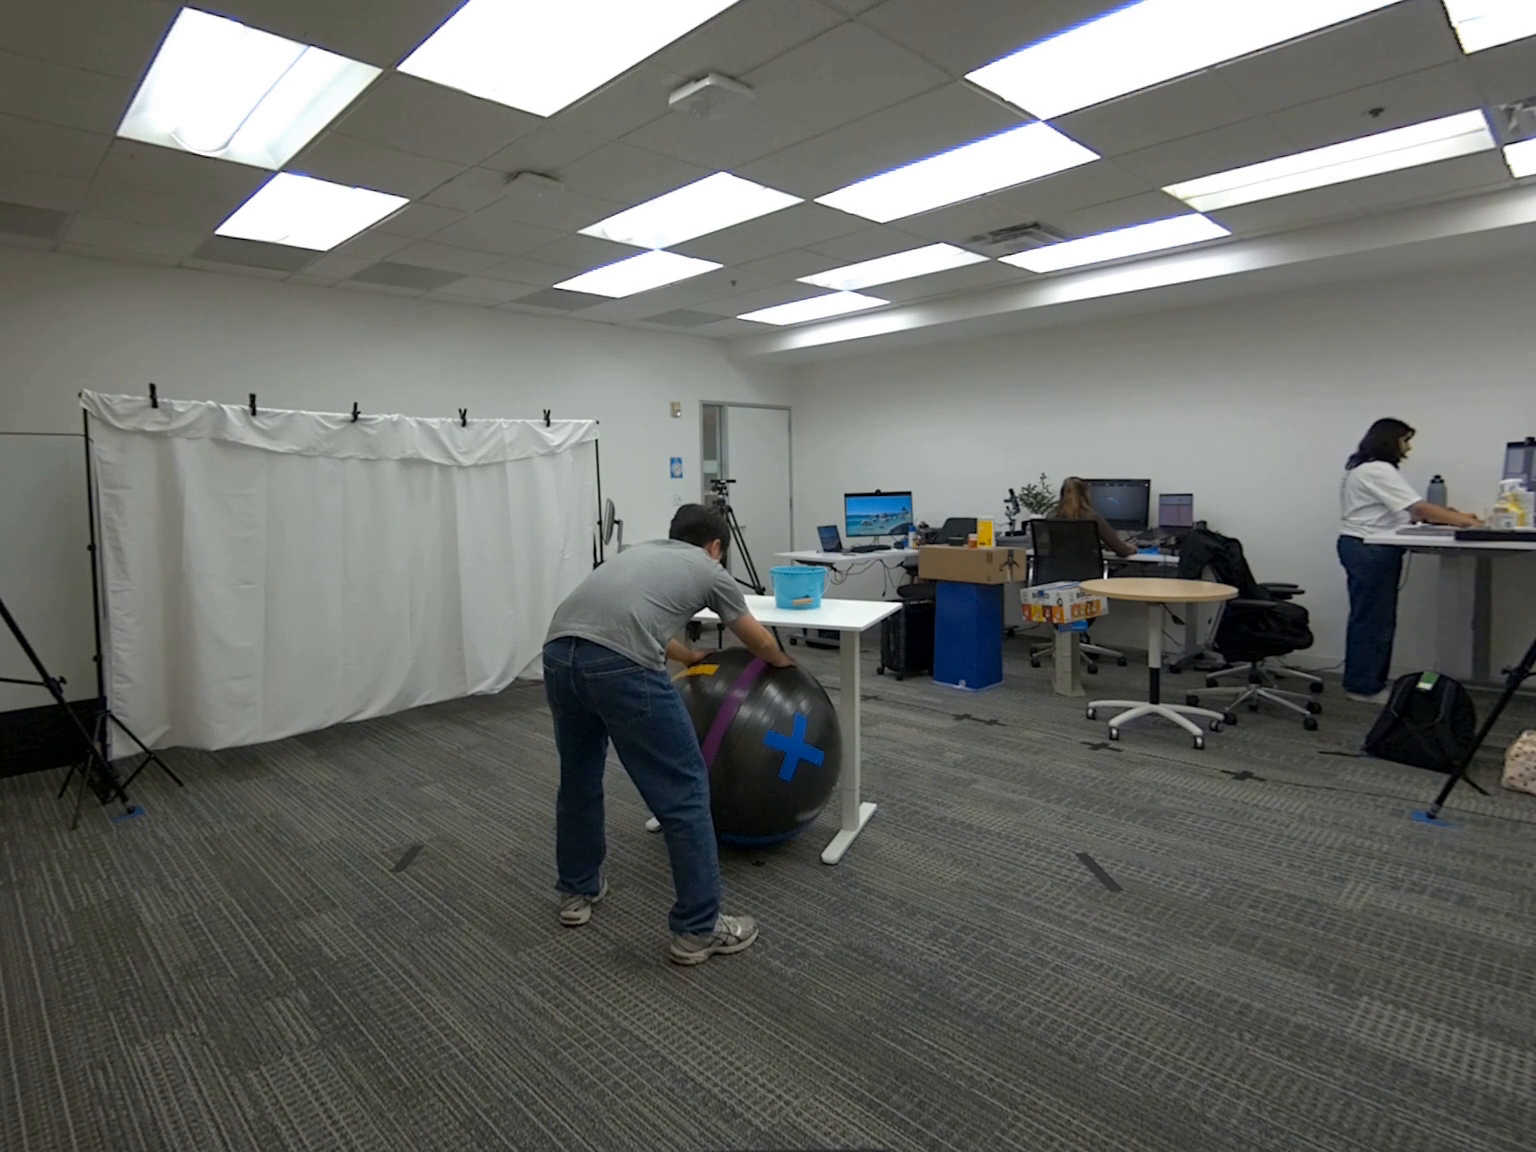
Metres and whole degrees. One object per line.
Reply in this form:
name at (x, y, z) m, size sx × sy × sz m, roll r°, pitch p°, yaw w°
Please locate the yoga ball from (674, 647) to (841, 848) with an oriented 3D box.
yoga ball at (-0.098, 0.658, 3.306) m, size 0.757 × 0.755 × 0.762 m, roll -1°, pitch 5°, yaw -2°
